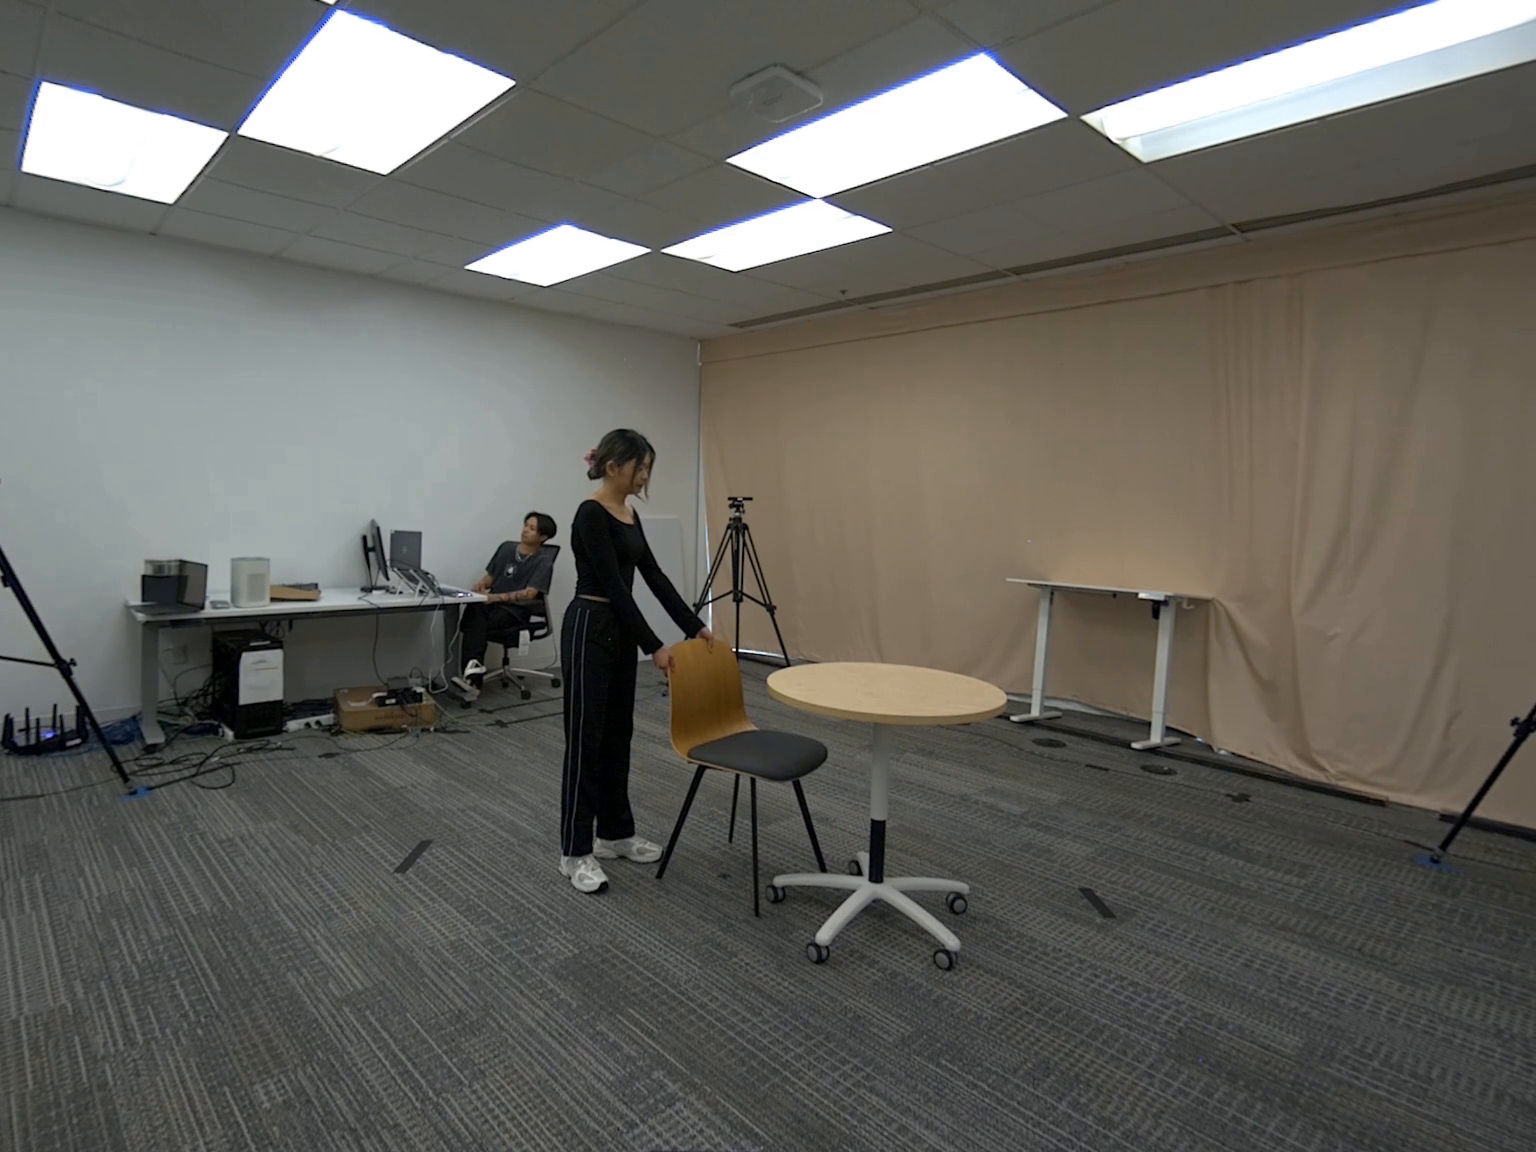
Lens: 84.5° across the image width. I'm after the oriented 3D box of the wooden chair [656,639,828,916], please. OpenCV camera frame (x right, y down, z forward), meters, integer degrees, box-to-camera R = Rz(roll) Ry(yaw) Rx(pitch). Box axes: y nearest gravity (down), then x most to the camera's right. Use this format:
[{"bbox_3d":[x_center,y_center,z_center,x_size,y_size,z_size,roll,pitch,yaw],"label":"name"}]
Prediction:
[{"bbox_3d":[-0.087,0.679,3.080,0.535,0.877,0.467,-2,0,36],"label":"wooden chair"}]
